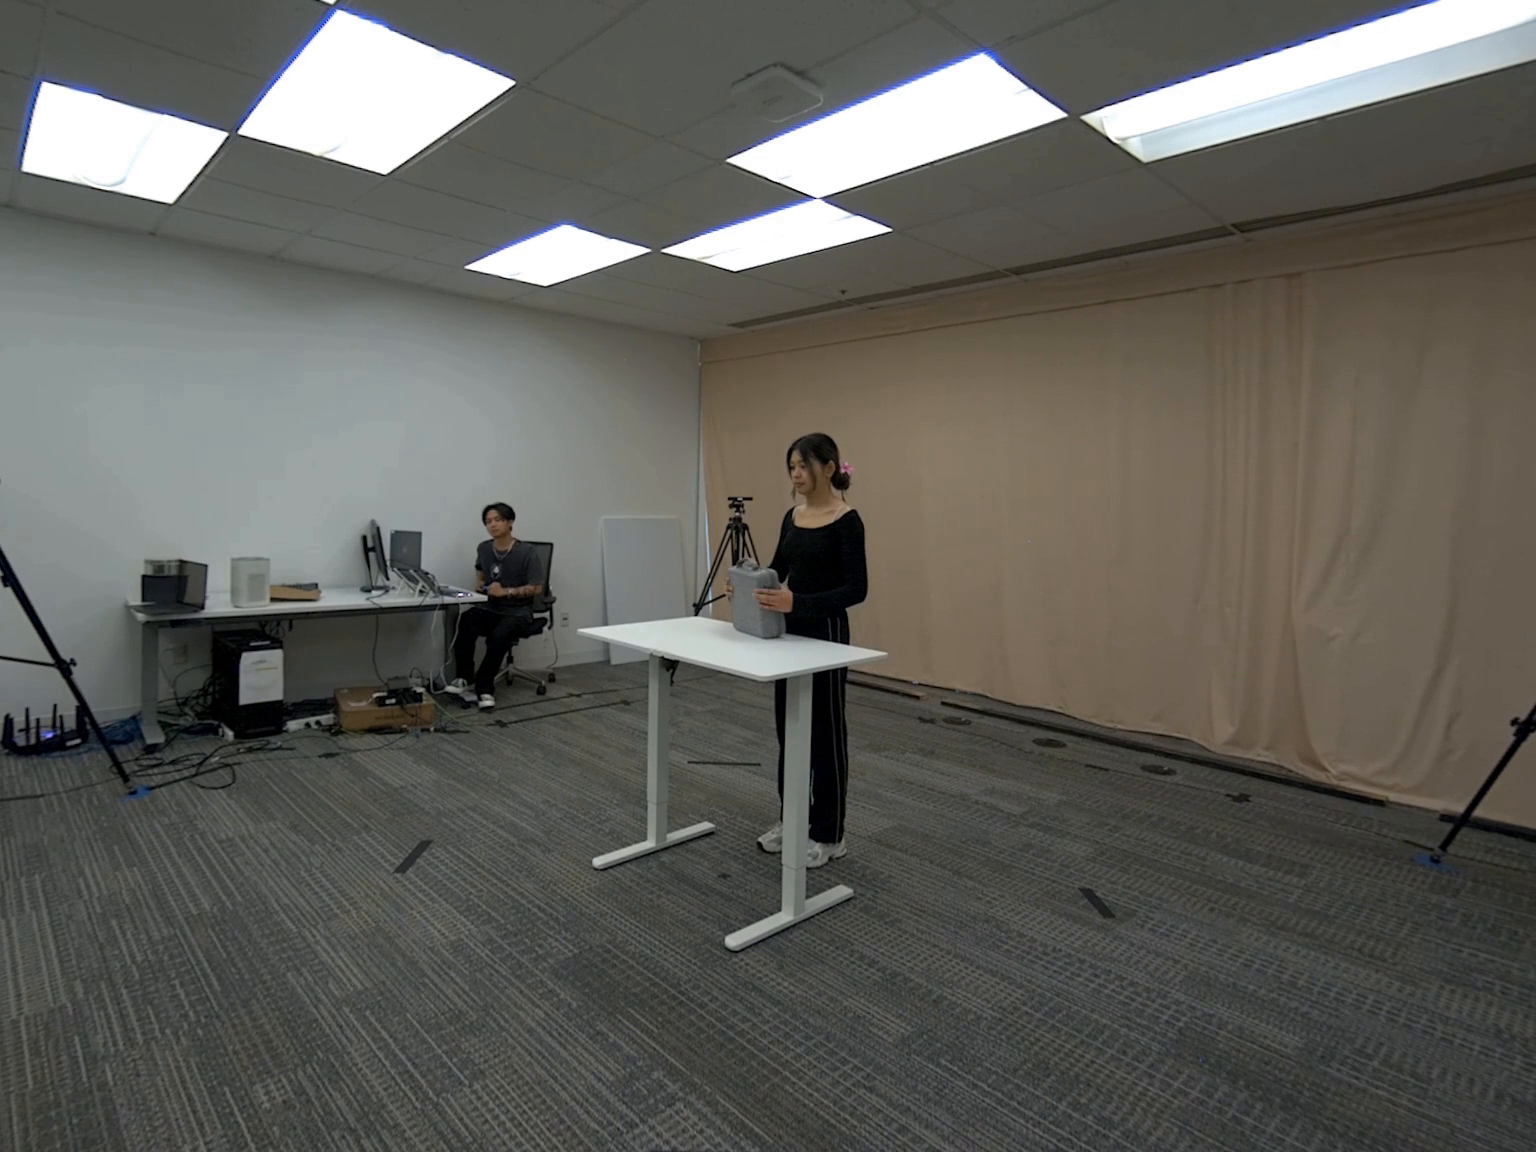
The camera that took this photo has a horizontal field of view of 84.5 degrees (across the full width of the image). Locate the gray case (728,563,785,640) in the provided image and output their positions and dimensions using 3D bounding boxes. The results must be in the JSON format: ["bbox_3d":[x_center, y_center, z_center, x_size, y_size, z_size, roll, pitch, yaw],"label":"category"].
[{"bbox_3d":[-0.051,0.090,3.155,0.103,0.259,0.262,-12,10,-26],"label":"gray case"}]
